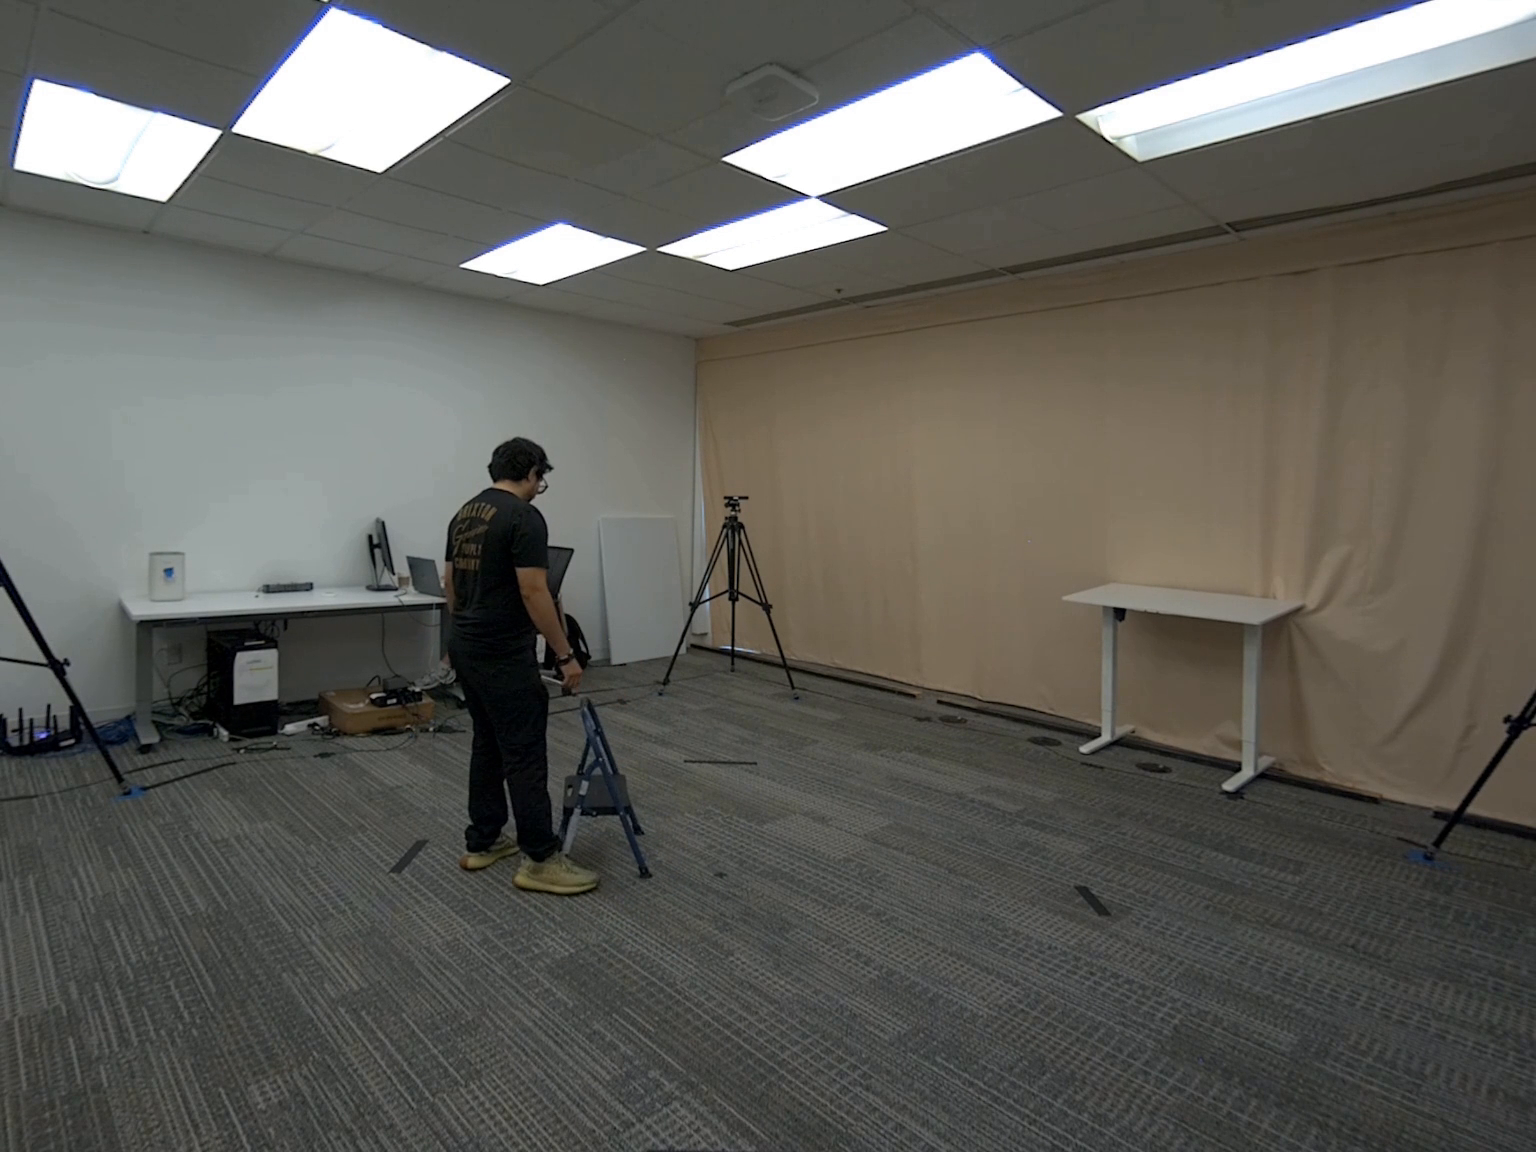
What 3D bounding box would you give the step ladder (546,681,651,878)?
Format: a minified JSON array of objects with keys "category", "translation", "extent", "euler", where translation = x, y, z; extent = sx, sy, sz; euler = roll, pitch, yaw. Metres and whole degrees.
[{"category":"step ladder","translation":[-0.637,0.785,3.238],"extent":[0.346,0.604,0.436],"euler":[2,4,-12]}]
